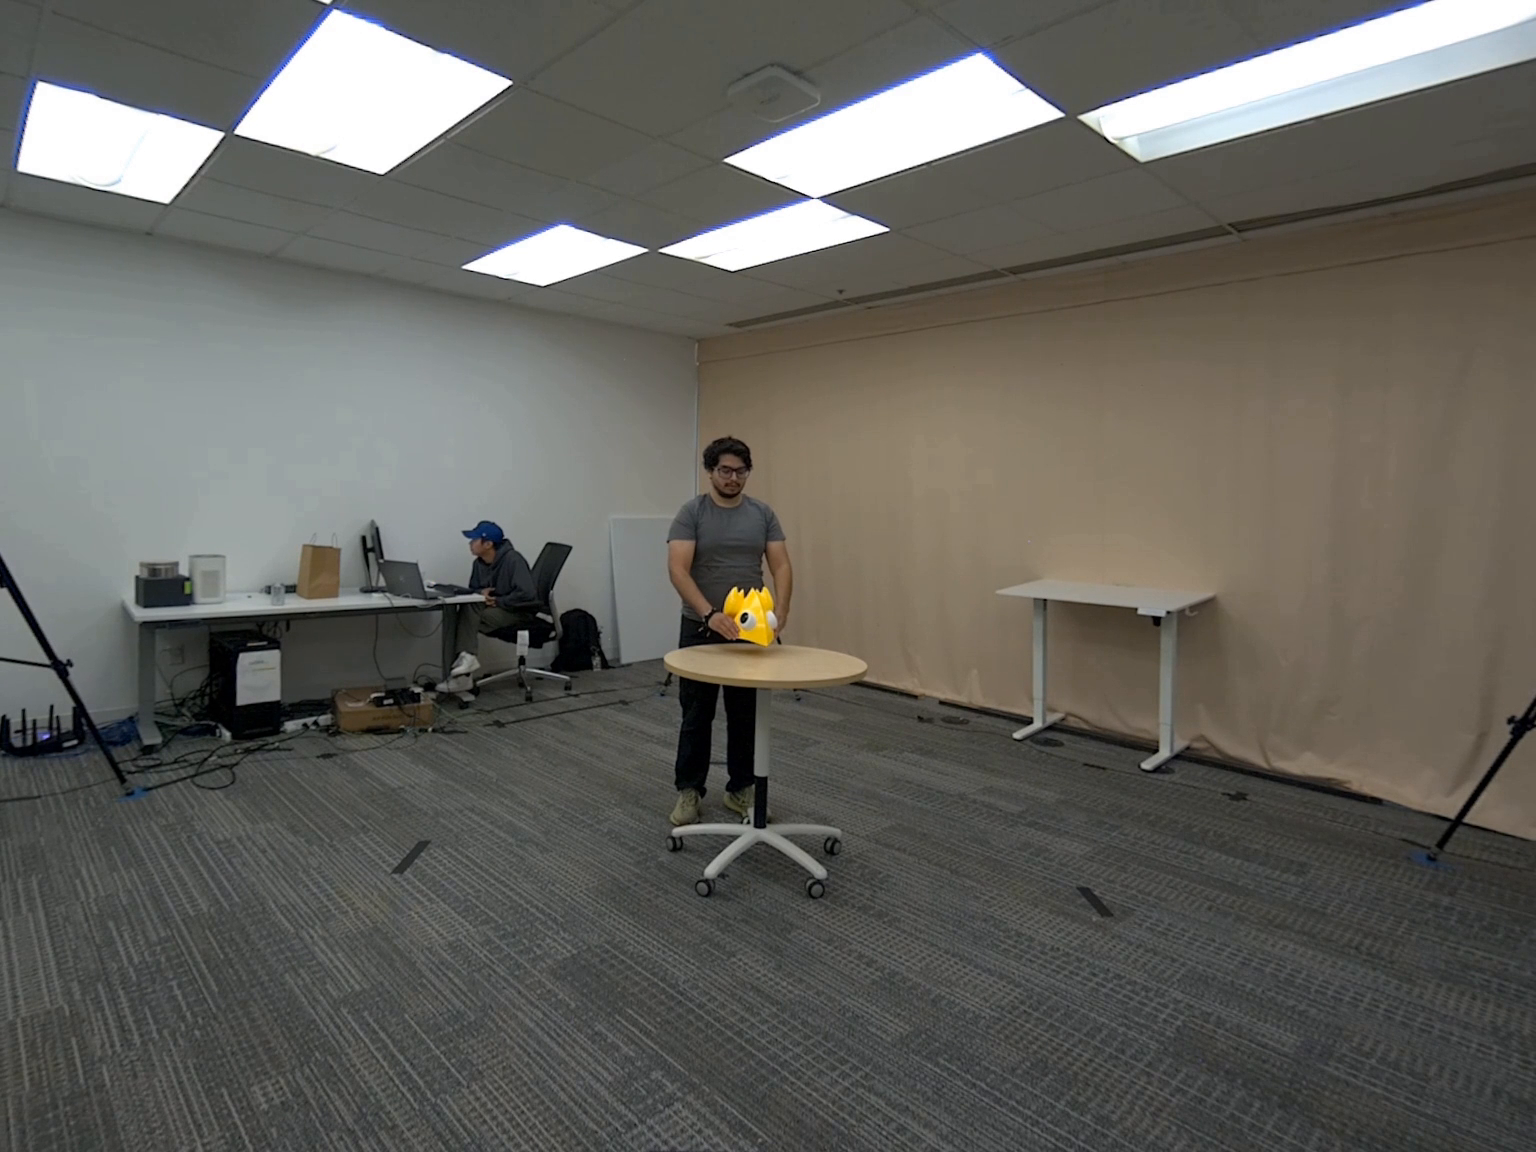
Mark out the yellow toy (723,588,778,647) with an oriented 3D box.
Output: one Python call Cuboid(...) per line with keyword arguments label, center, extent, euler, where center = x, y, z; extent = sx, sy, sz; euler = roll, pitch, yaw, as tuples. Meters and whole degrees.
Cuboid(label="yellow toy", center=(-0.044, 0.171, 3.285), extent=(0.201, 0.191, 0.237), euler=(1, 19, -22))
